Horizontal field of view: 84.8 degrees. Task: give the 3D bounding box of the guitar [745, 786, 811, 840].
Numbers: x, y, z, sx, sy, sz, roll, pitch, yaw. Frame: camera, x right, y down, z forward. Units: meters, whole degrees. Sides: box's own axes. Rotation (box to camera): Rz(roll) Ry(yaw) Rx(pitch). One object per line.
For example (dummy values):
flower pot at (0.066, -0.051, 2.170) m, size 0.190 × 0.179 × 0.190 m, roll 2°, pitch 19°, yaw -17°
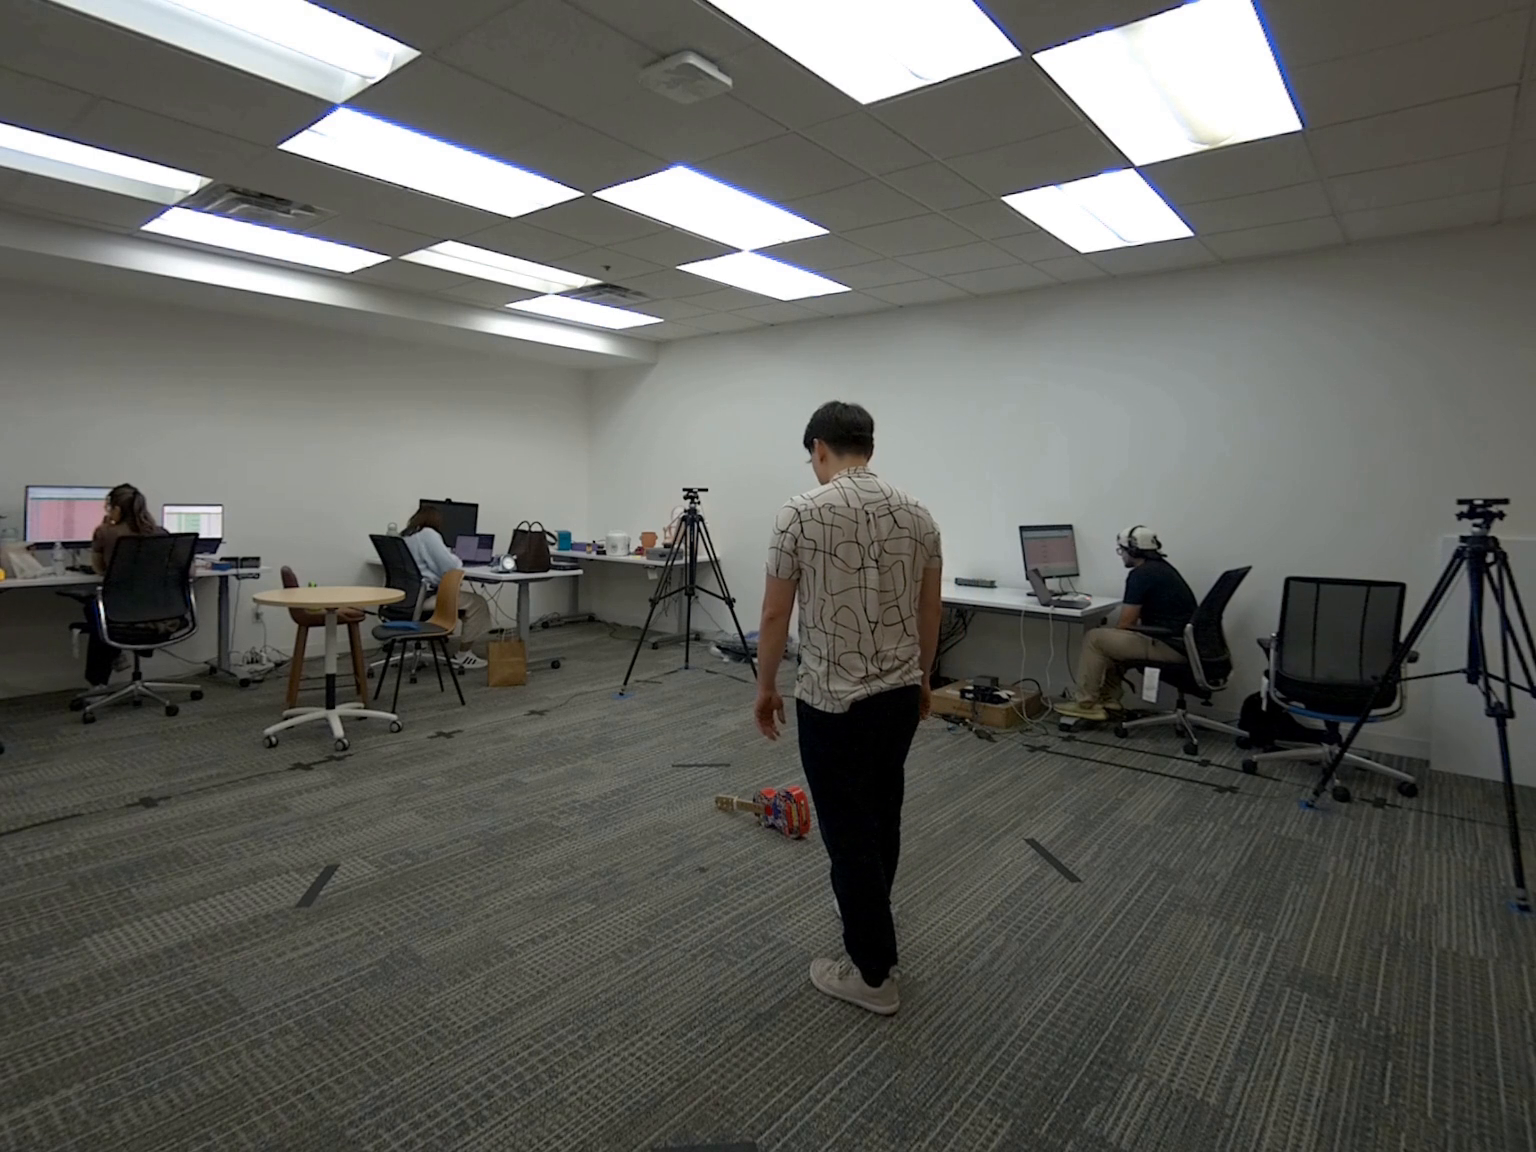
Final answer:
guitar at (-0.044, 0.937, 3.559) m, size 0.069 × 0.192 × 0.515 m, roll -6°, pitch 8°, yaw -44°
